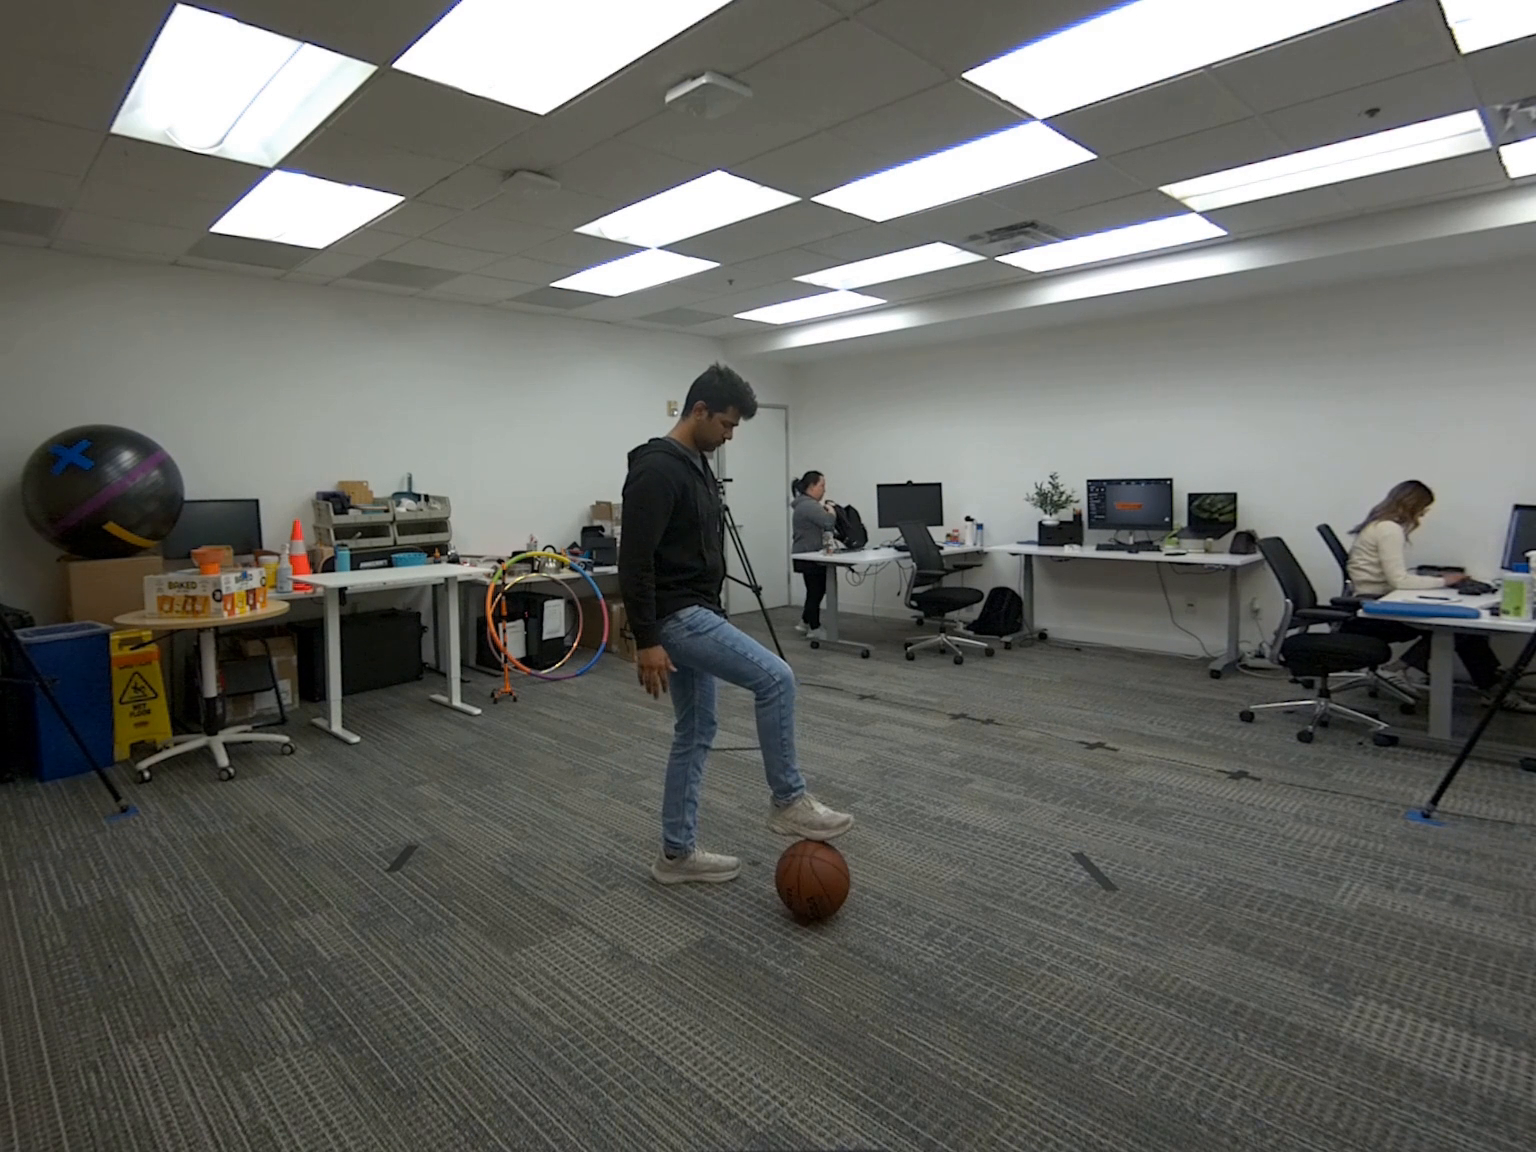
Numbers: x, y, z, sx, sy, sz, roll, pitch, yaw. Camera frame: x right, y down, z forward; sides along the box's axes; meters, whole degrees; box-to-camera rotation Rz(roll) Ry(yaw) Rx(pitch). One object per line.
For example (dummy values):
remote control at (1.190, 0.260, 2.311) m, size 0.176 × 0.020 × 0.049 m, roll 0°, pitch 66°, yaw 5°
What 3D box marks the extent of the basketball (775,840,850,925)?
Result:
basketball at (0.139, 0.964, 2.725) m, size 0.236 × 0.235 × 0.237 m, roll -1°, pitch 5°, yaw -2°
